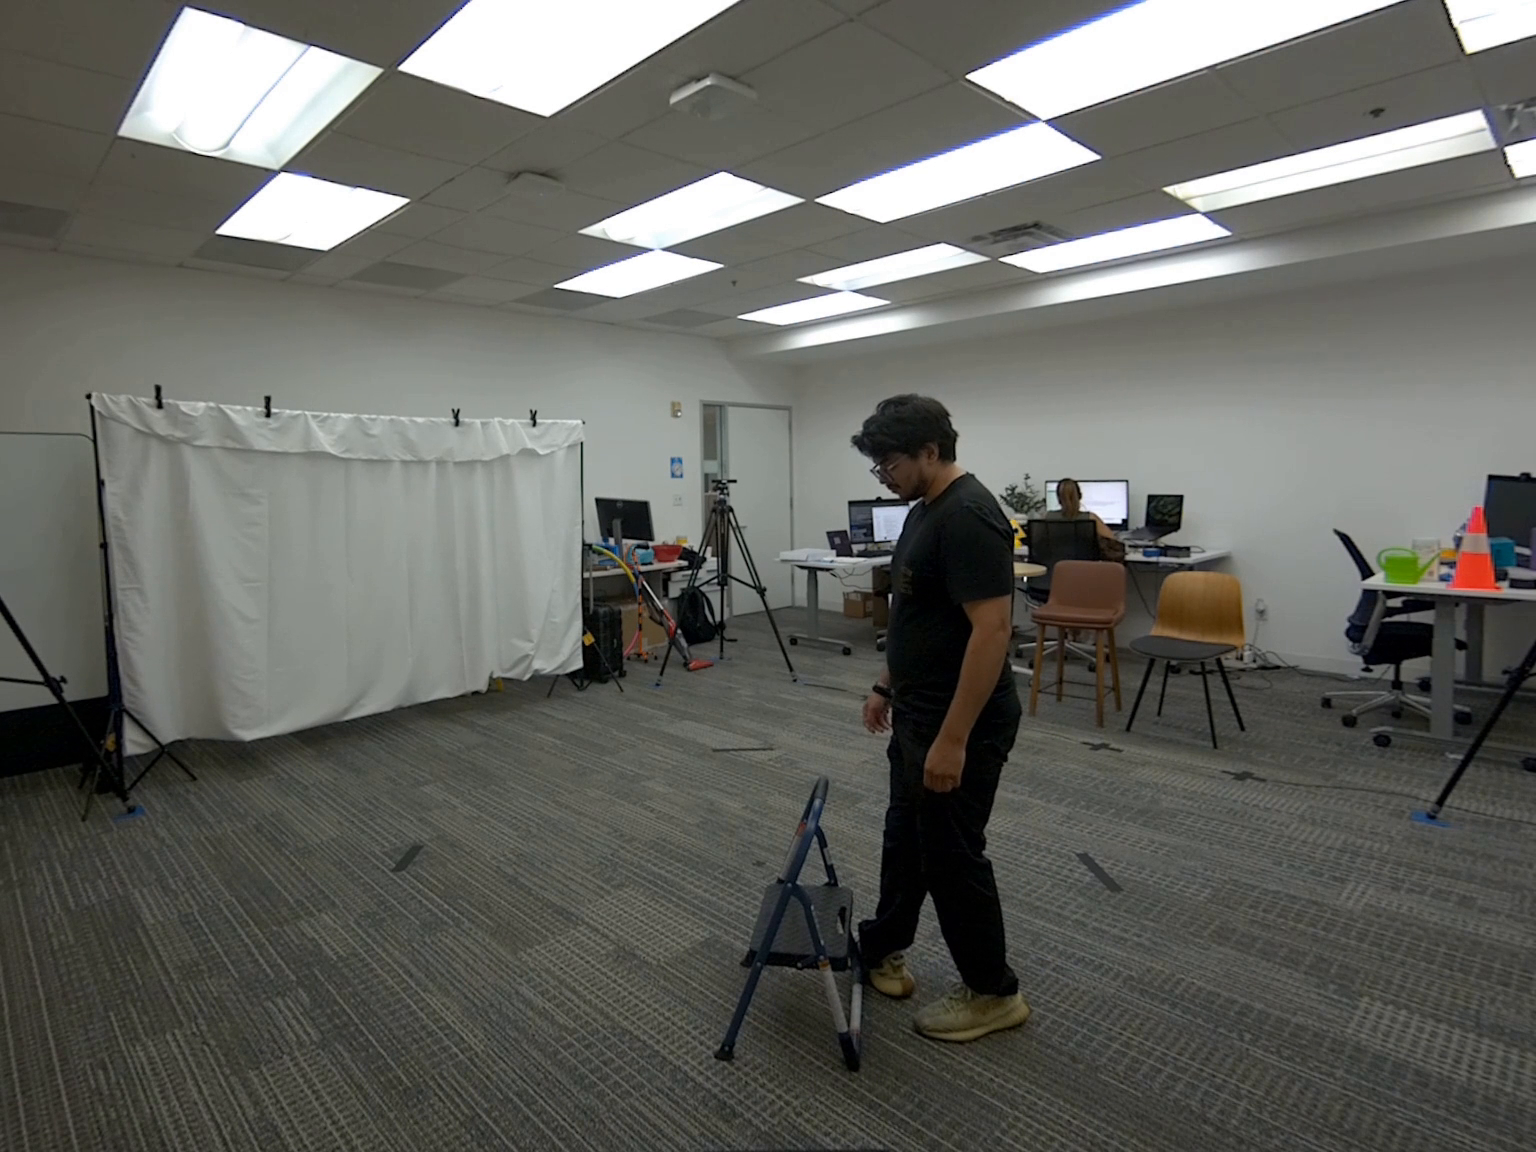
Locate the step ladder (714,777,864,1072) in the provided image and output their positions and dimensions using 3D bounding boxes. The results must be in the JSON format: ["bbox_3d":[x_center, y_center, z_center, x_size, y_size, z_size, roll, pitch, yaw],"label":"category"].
[{"bbox_3d":[0.082,0.854,2.213,0.353,0.603,0.428,0,5,9],"label":"step ladder"}]
